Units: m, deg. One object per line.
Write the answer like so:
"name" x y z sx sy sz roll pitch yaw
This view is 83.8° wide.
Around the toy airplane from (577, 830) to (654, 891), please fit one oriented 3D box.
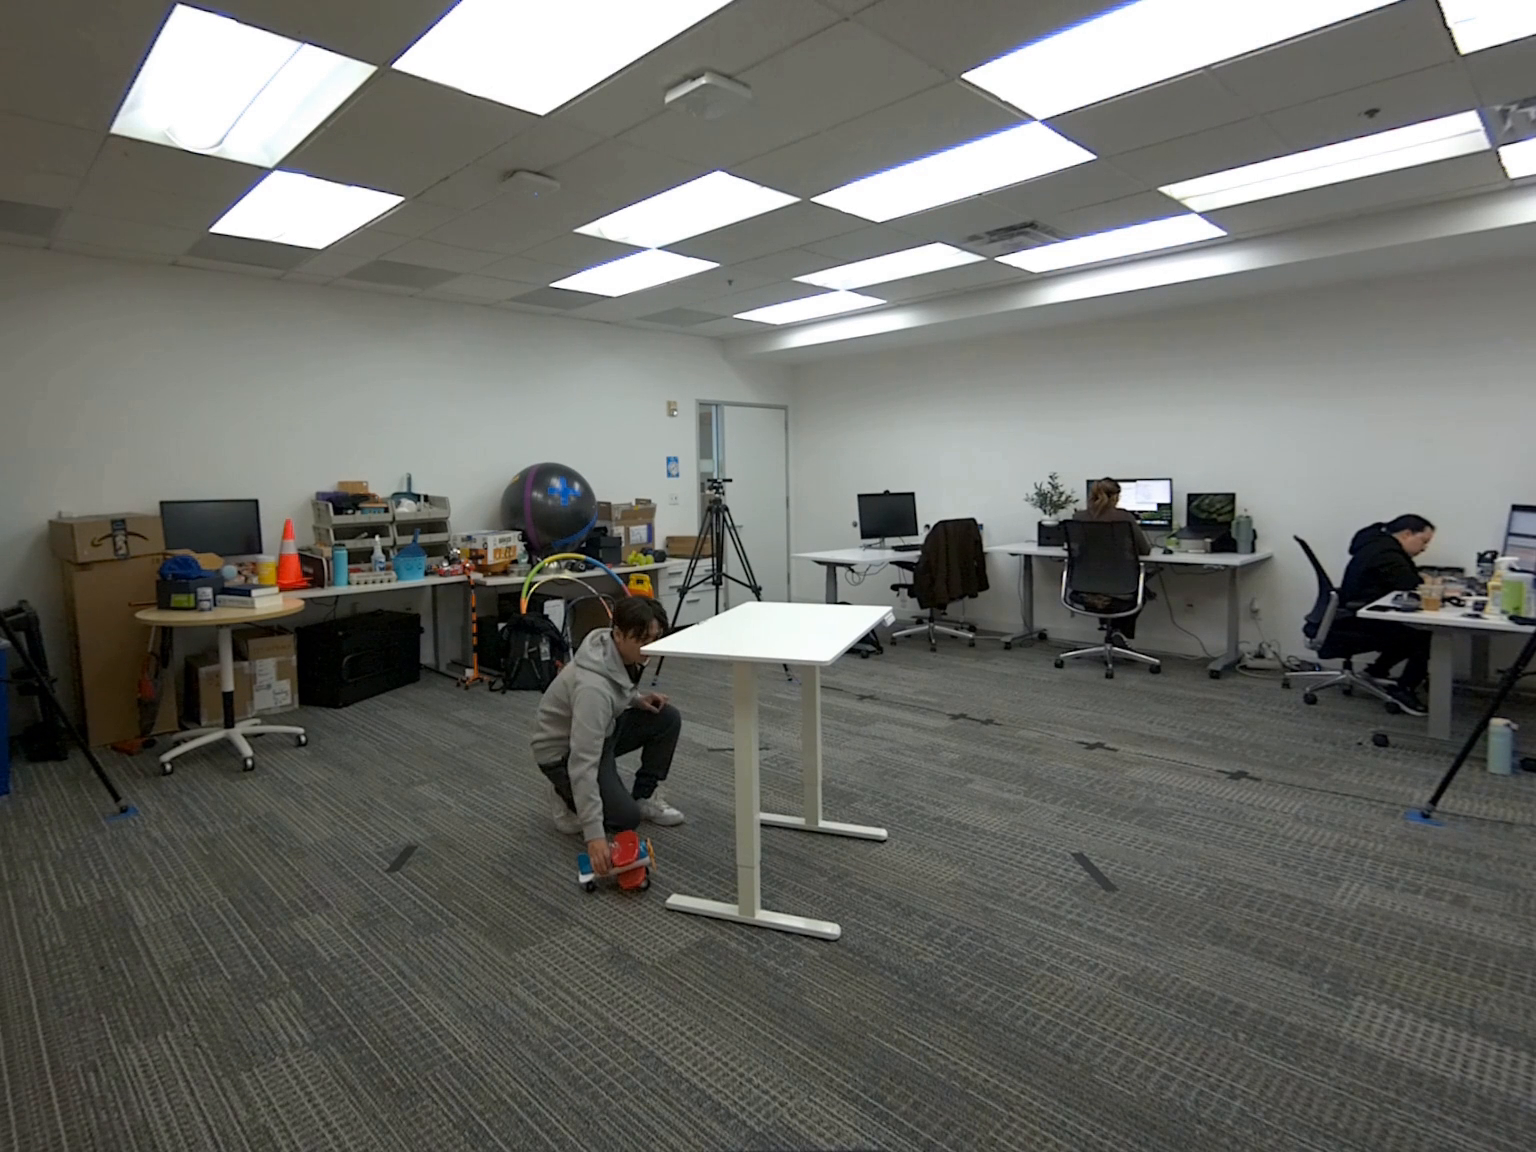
"toy airplane" -0.524 1.006 2.930 0.253 0.156 0.258 -6 6 -36
